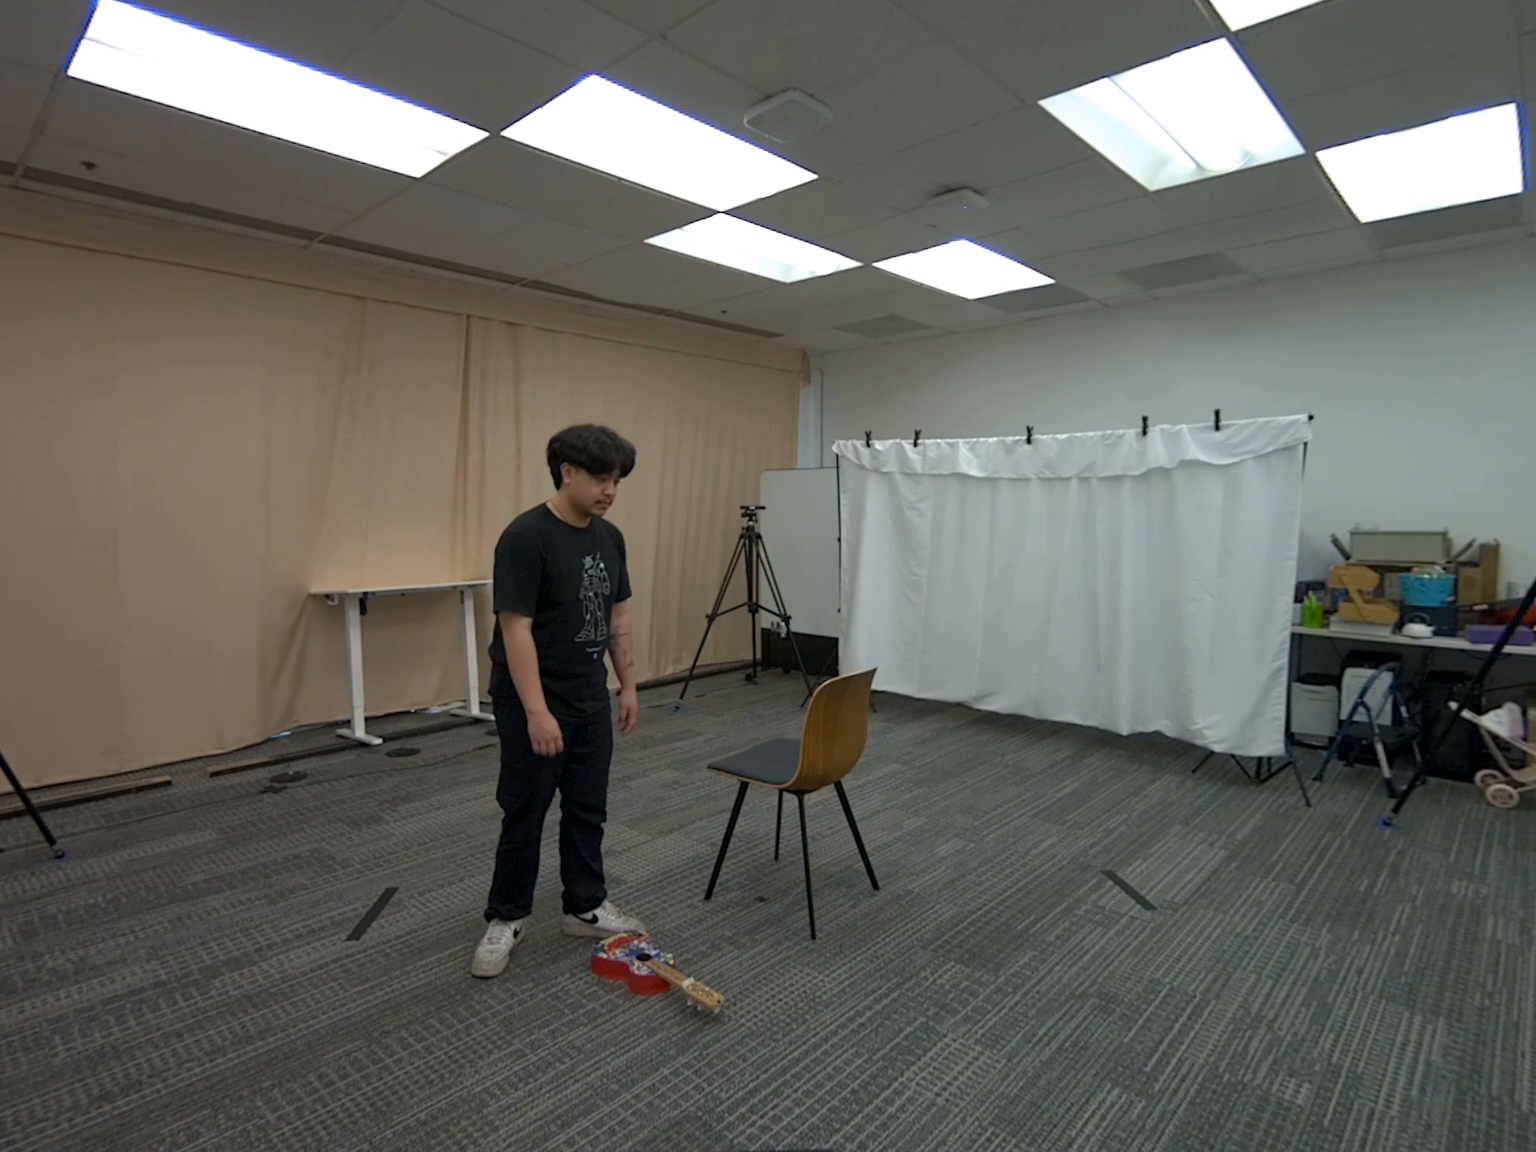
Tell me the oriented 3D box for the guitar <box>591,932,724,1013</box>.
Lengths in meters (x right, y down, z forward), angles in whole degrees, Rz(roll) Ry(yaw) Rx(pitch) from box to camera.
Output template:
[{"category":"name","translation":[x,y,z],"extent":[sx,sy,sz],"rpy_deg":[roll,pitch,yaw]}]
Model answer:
[{"category":"guitar","translation":[-0.334,1.161,2.415],"extent":[0.187,0.070,0.514],"rpy_deg":[-2,5,-36]}]
